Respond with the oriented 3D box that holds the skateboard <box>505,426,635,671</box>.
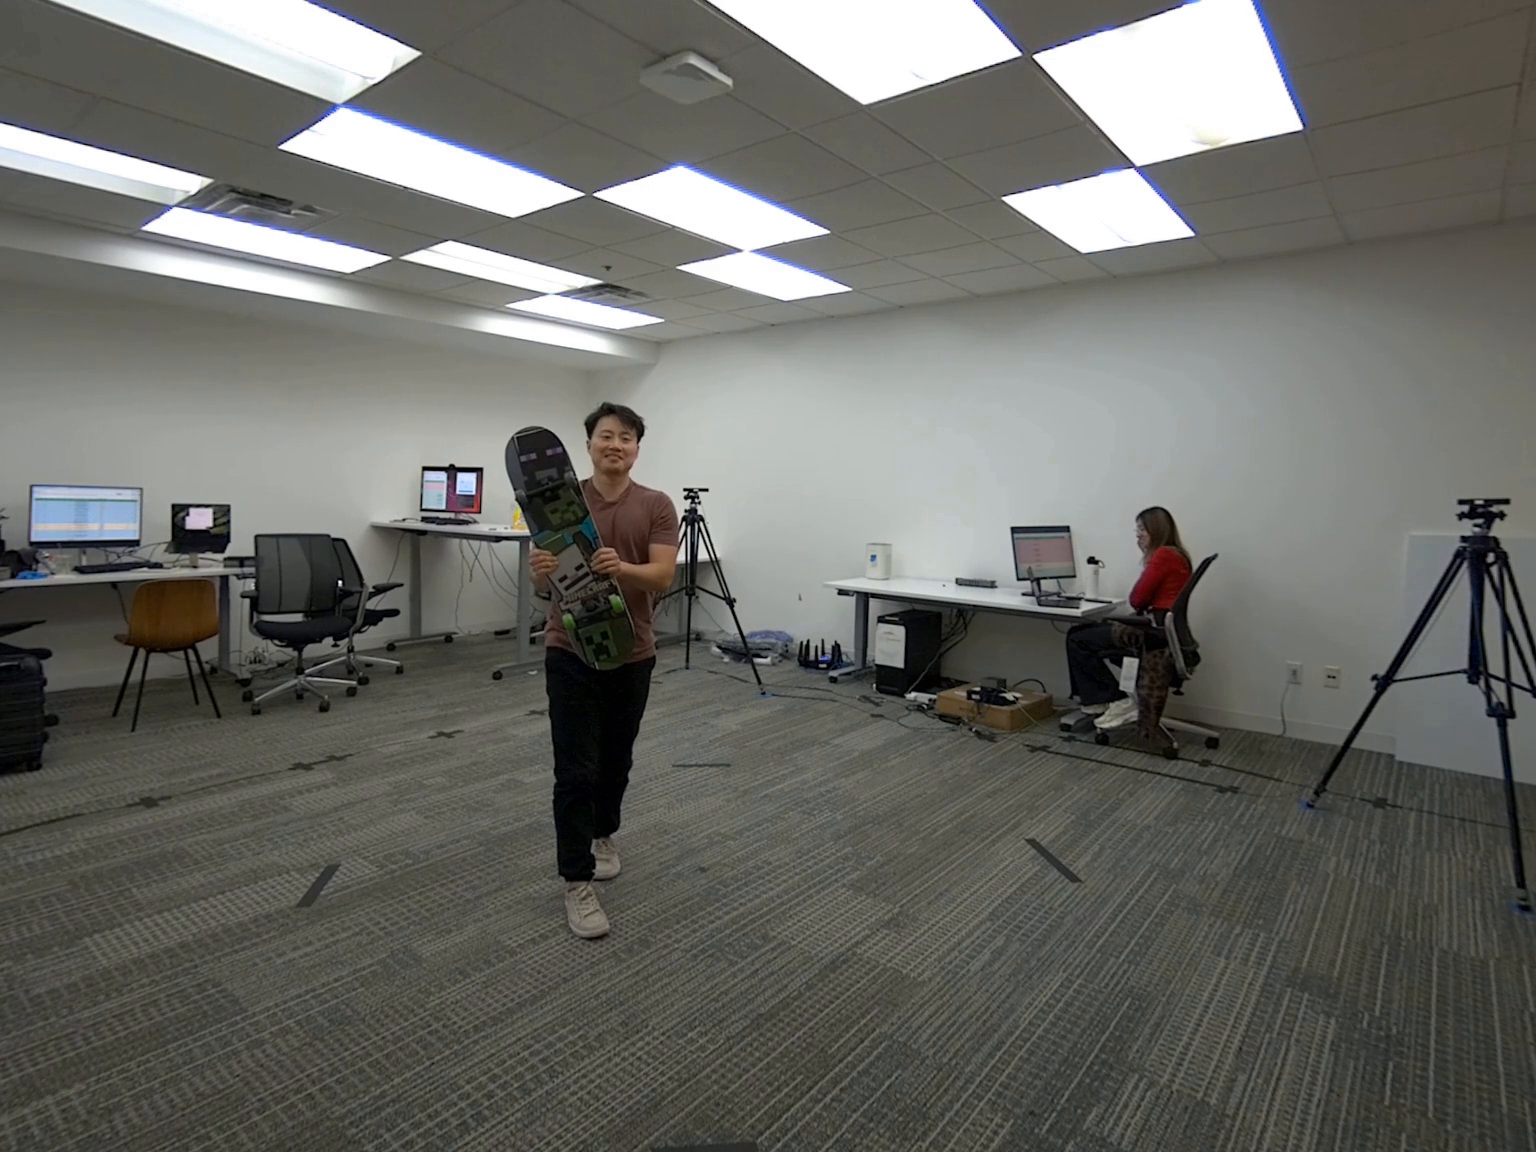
[{"bbox_3d":[-0.606,-0.081,2.566,0.193,0.780,0.111,-21,5,-5],"label":"skateboard"}]
